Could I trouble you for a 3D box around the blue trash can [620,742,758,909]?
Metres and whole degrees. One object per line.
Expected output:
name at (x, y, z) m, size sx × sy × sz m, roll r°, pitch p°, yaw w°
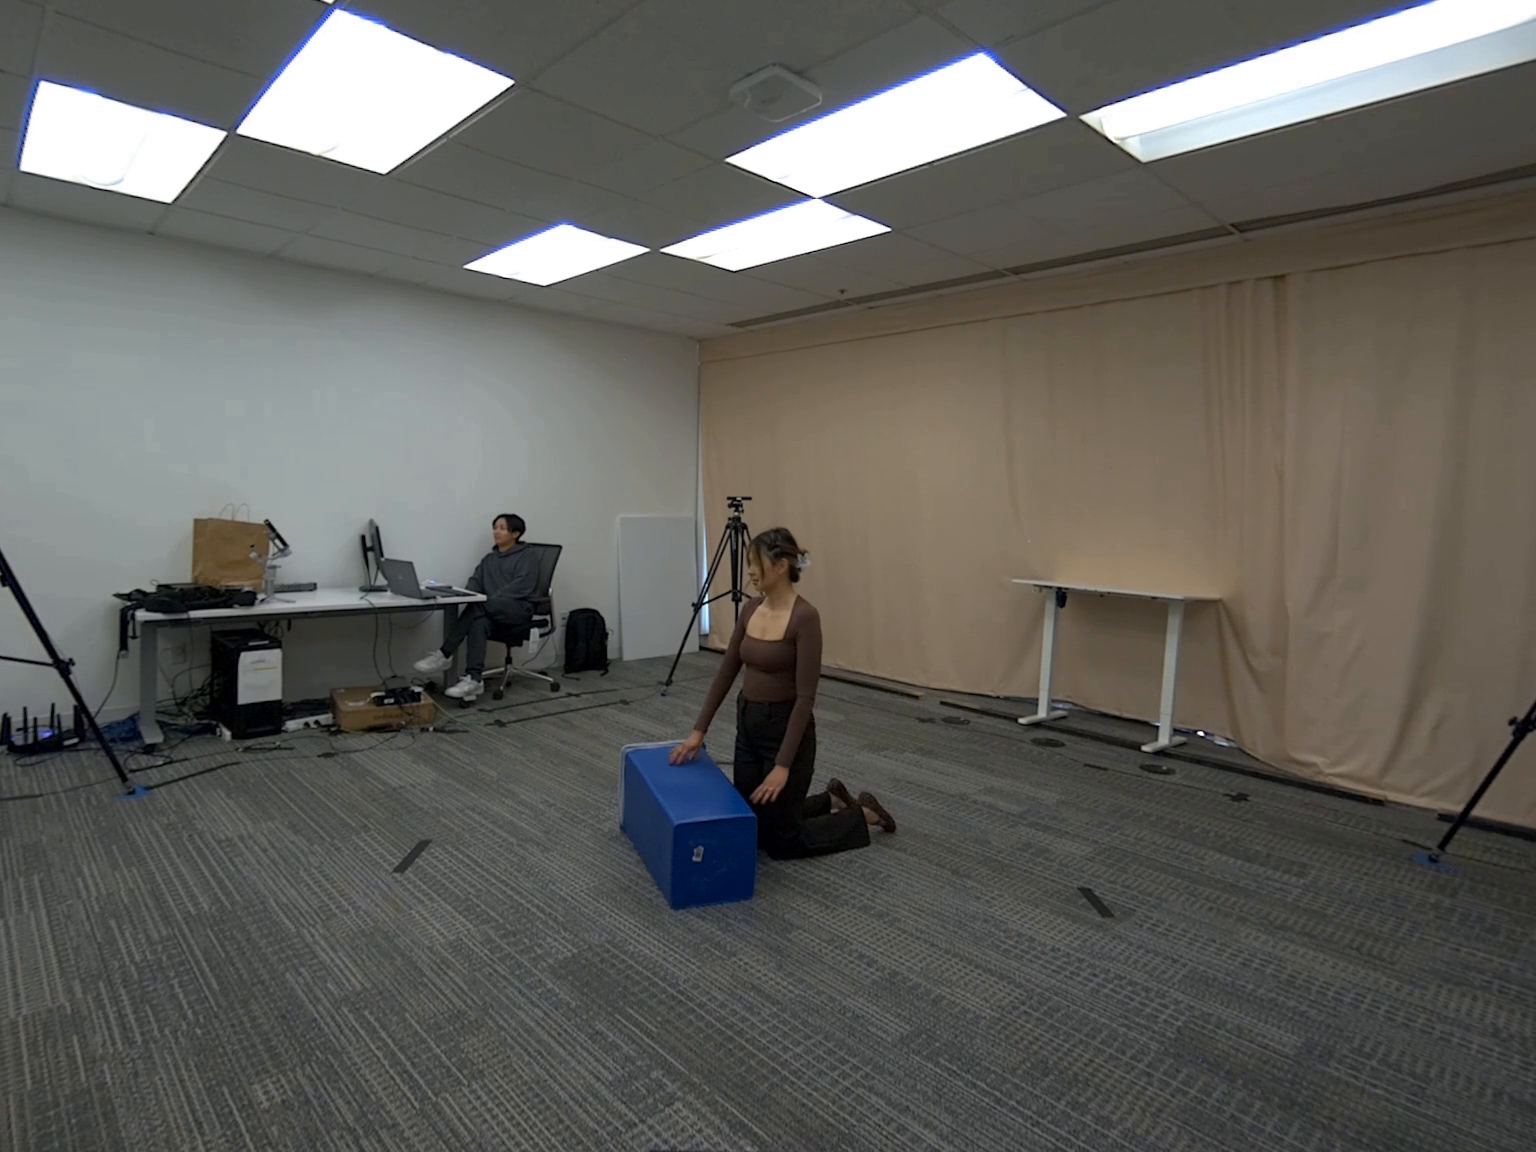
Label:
blue trash can at (-0.321, 0.917, 3.196) m, size 0.368 × 0.377 × 0.727 m, roll 1°, pitch 6°, yaw -21°
